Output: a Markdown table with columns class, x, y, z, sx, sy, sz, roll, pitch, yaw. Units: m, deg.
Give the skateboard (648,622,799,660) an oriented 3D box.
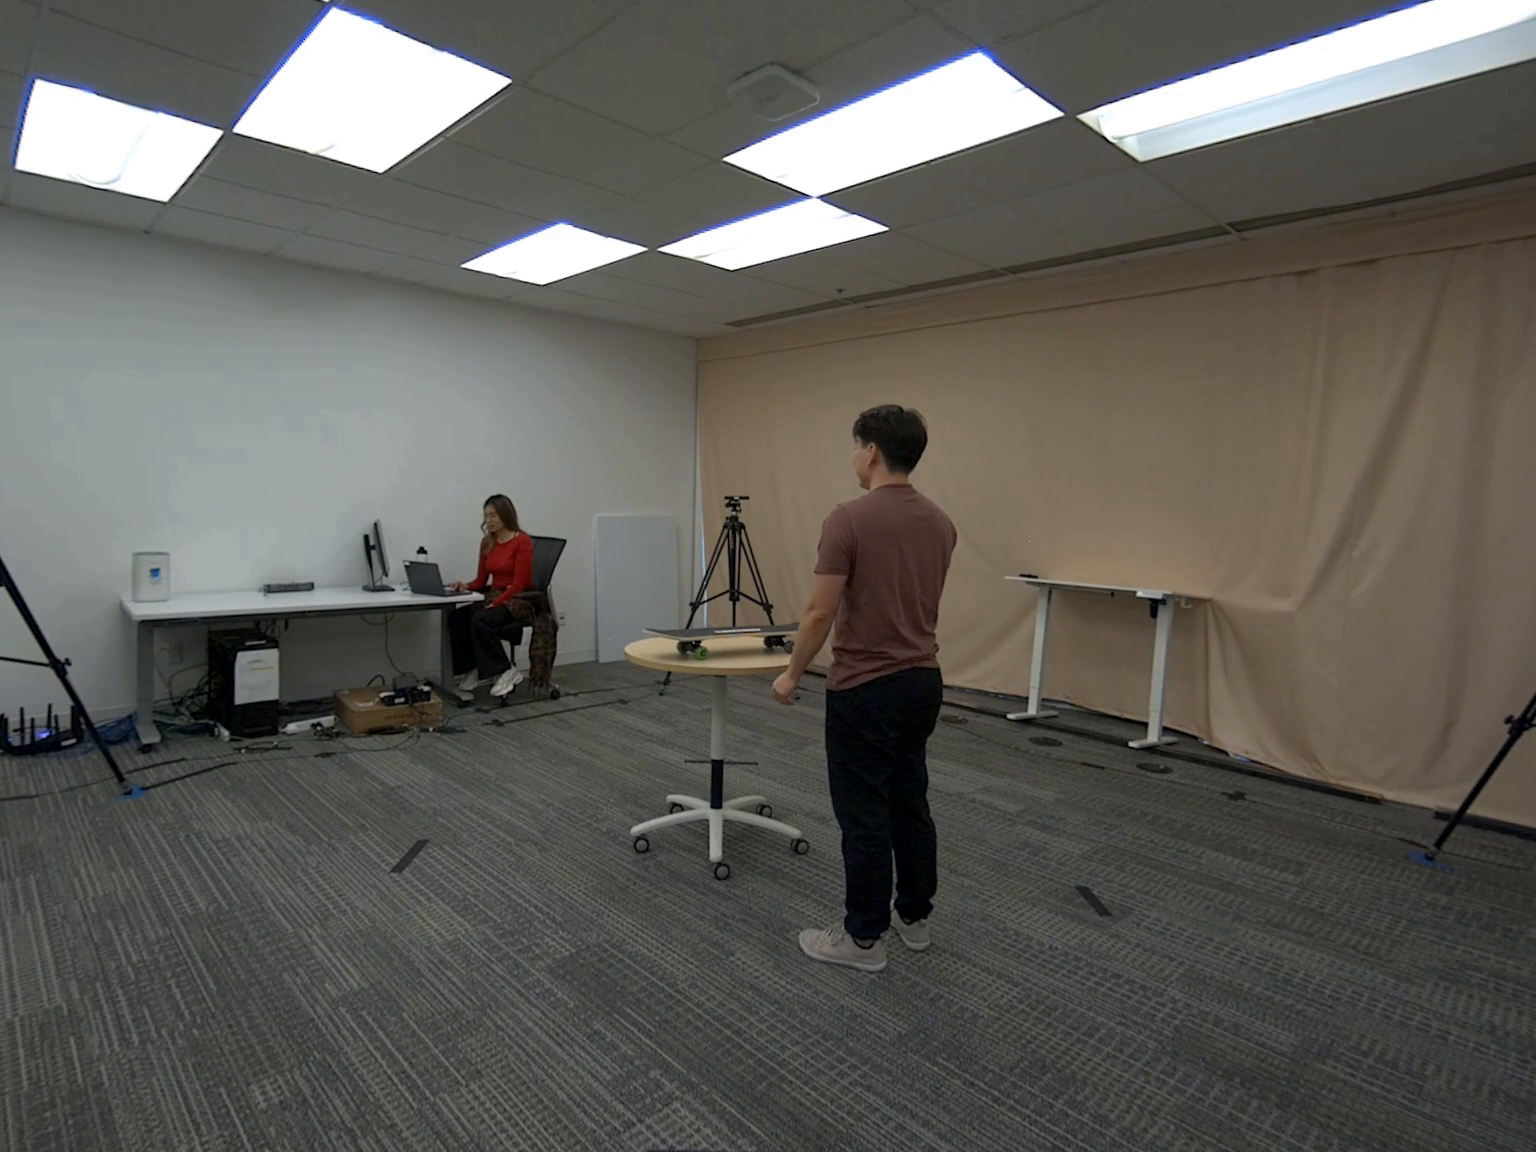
| class | x | y | z | sx | sy | sz | roll | pitch | yaw |
| --- | --- | --- | --- | --- | --- | --- | --- | --- | --- |
| skateboard | -0.128 | 0.254 | 3.296 | 0.770 | 0.110 | 0.198 | -1 | 5 | -29 |
